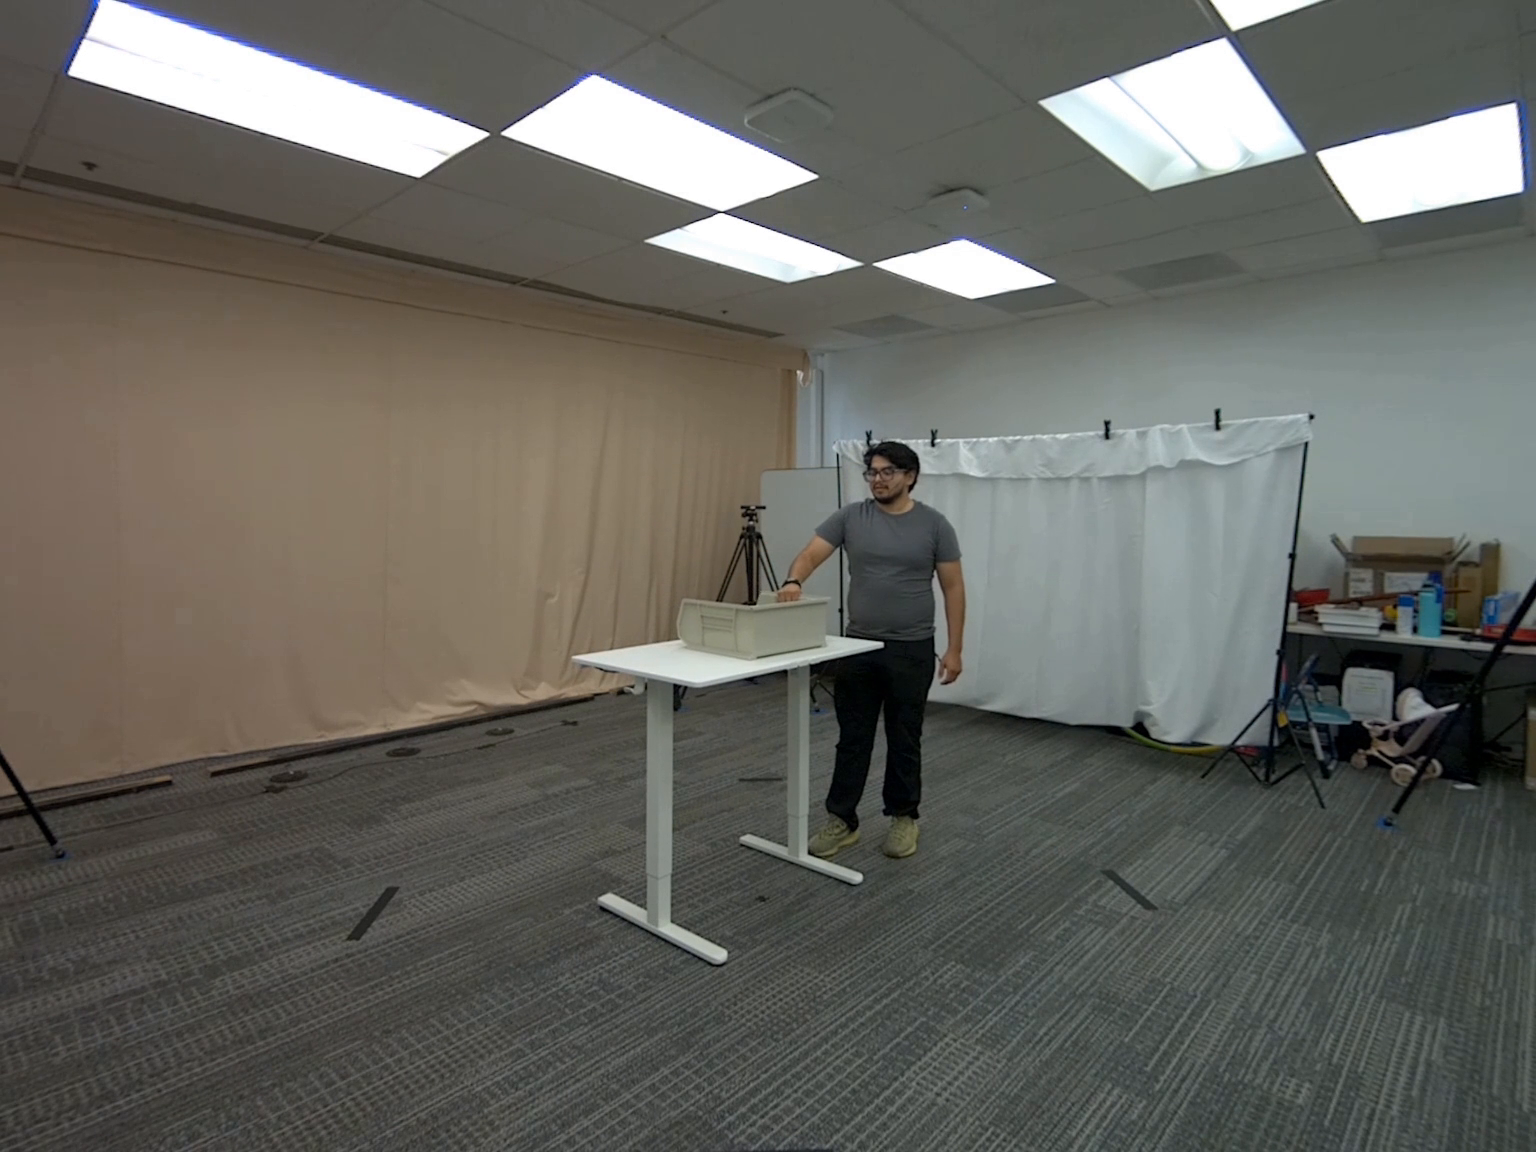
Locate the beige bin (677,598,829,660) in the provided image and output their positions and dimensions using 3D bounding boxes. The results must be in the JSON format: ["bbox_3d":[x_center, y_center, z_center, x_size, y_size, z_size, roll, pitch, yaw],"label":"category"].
[{"bbox_3d":[-0.052,0.167,3.031,0.390,0.188,0.409,7,7,44],"label":"beige bin"}]
